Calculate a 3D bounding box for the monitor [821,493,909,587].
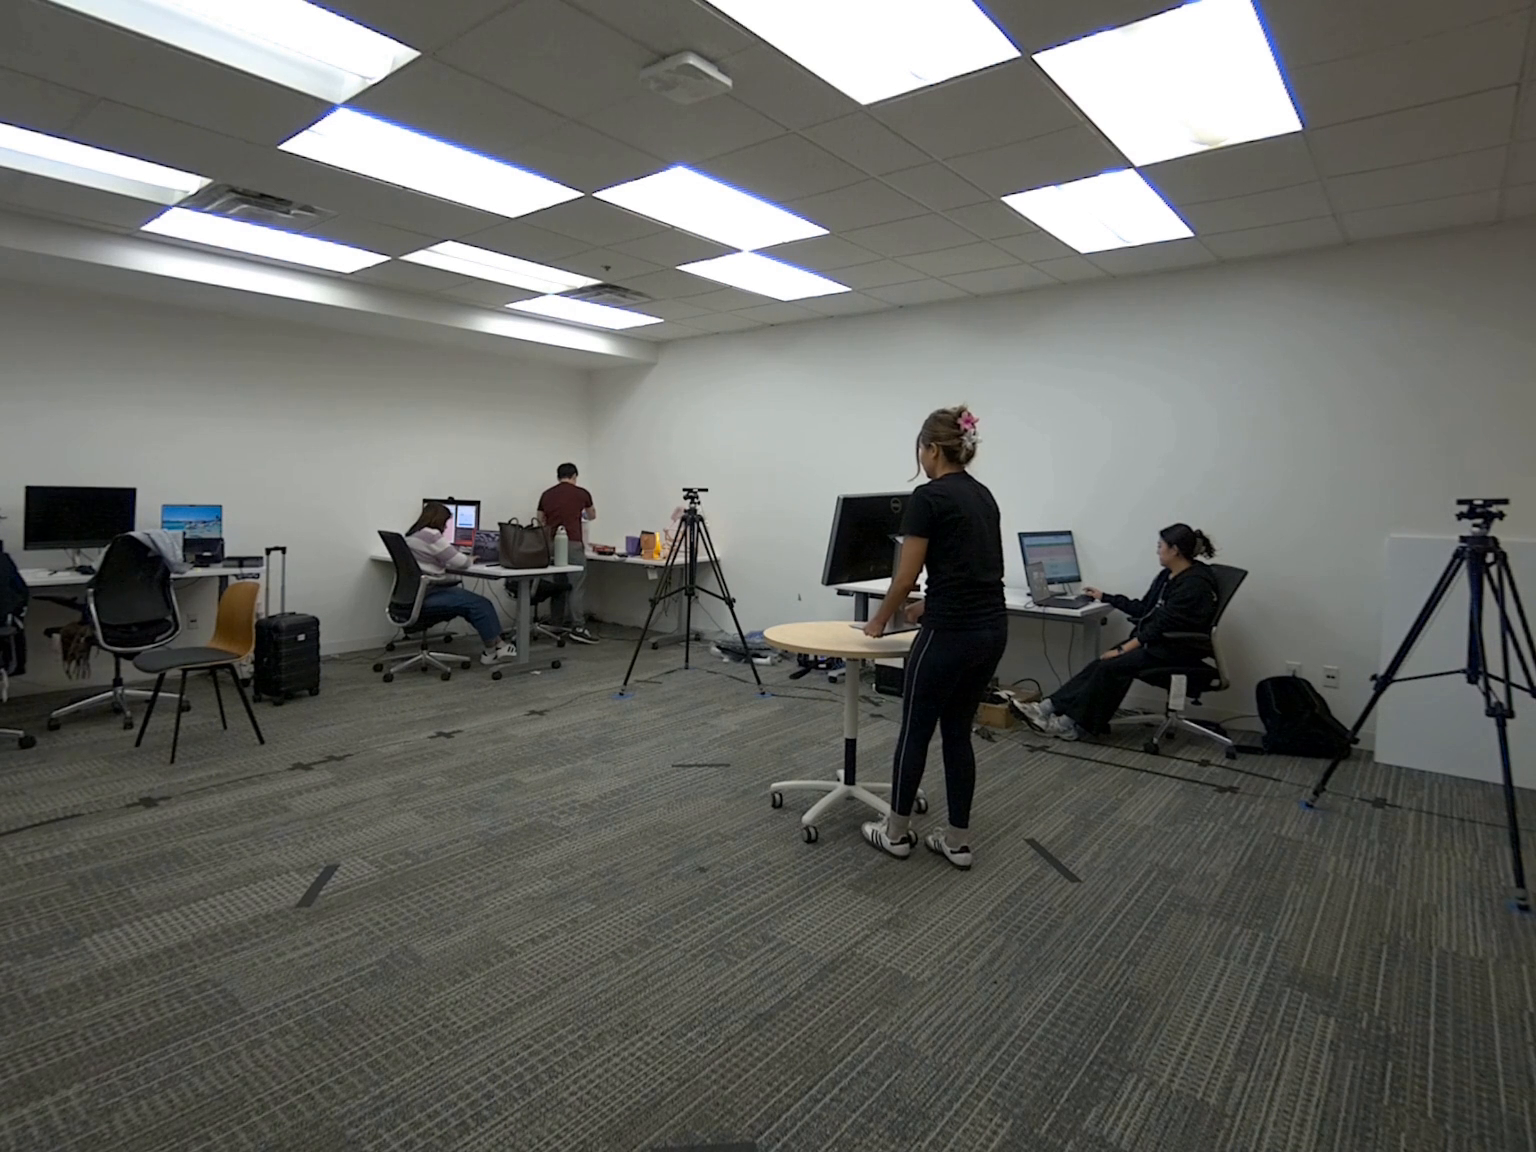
[{"bbox_3d":[0.471,-0.070,3.384,0.524,0.518,0.194,-6,10,-37],"label":"monitor"}]
